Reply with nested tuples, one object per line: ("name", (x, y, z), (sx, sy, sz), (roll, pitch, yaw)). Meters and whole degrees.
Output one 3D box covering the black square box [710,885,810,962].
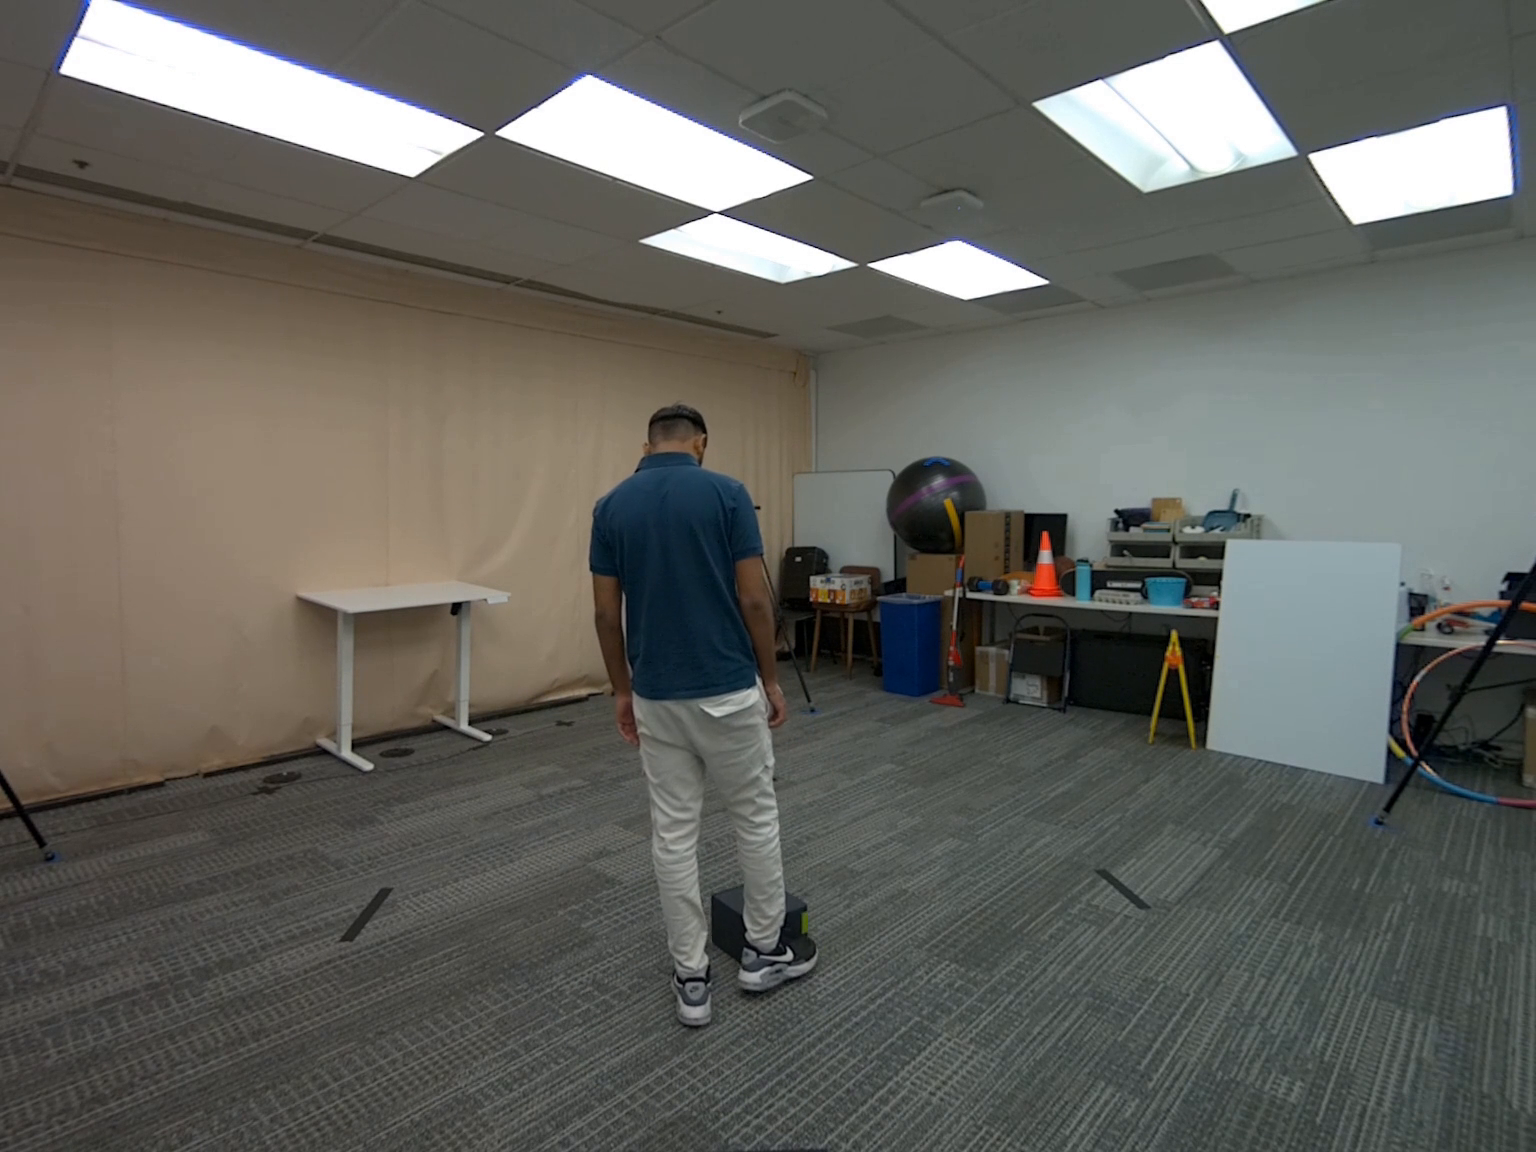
("black square box", (-0.026, 1.090, 2.651), (0.210, 0.155, 0.235), (-2, 5, -36))
